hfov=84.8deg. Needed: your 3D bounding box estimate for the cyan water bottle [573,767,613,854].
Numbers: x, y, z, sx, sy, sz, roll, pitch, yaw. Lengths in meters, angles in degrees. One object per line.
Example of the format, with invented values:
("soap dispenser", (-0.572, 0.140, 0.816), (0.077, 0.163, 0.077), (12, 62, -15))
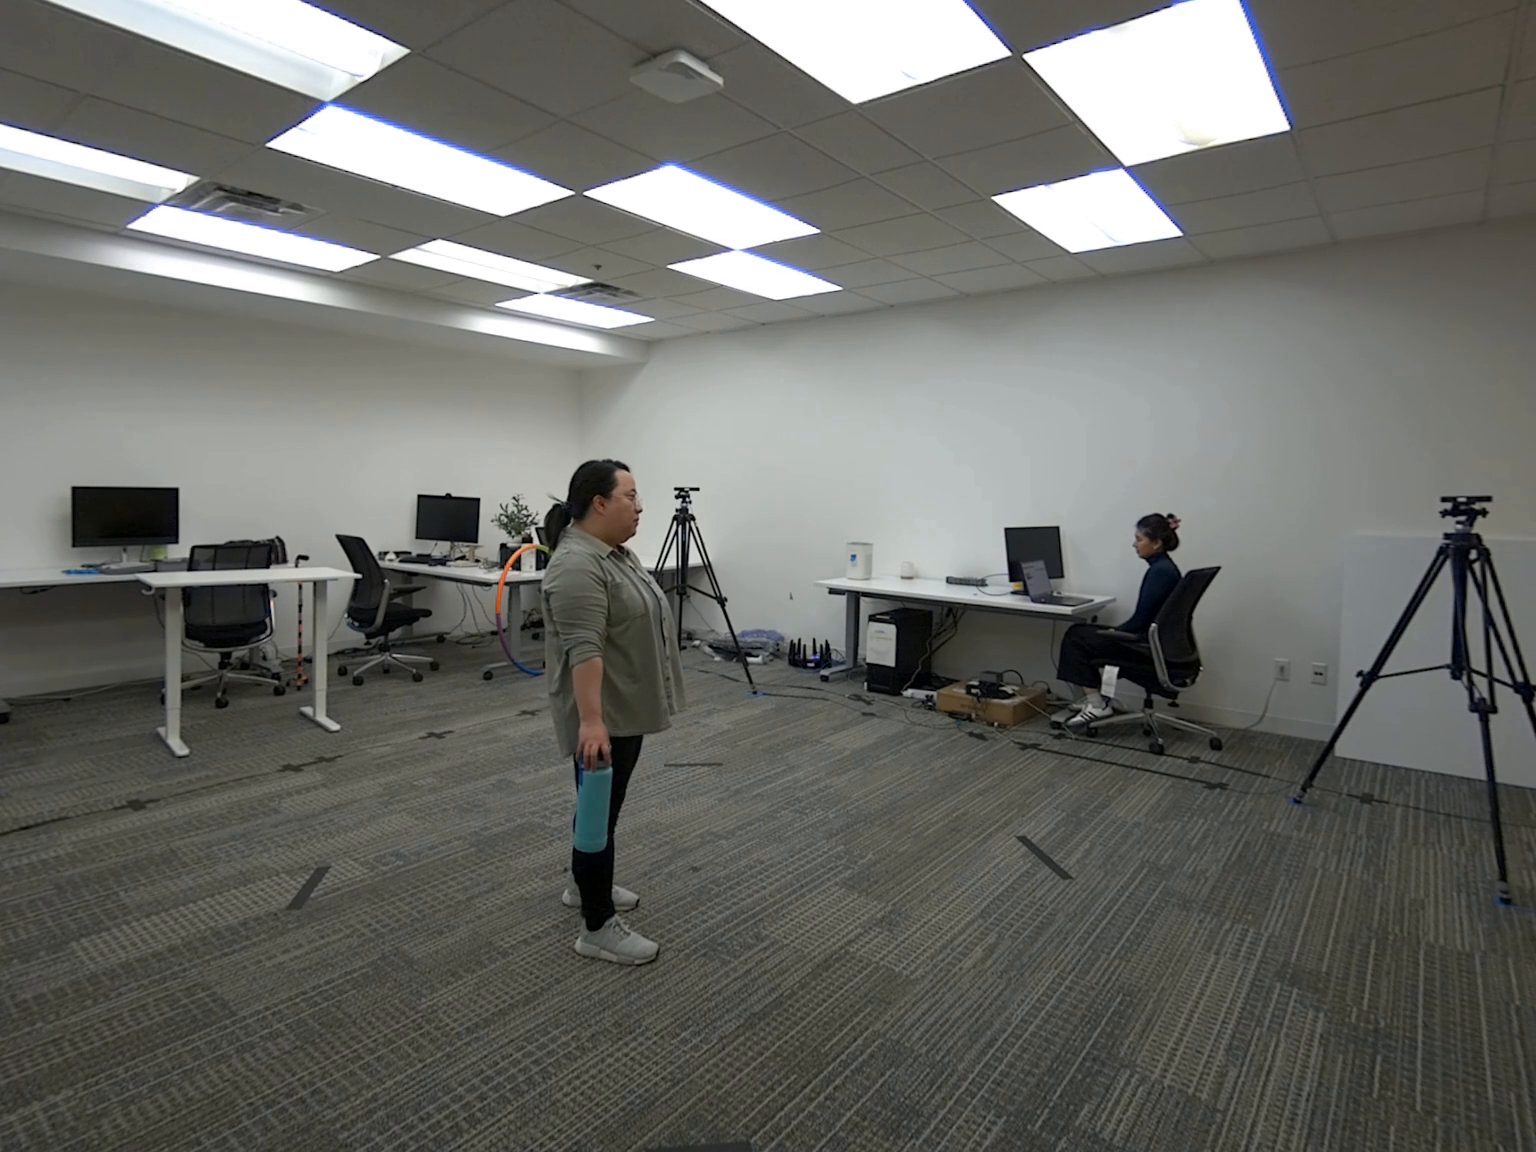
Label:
("cyan water bottle", (-0.487, 0.599, 2.334), (0.092, 0.282, 0.093), (4, 5, -2))
